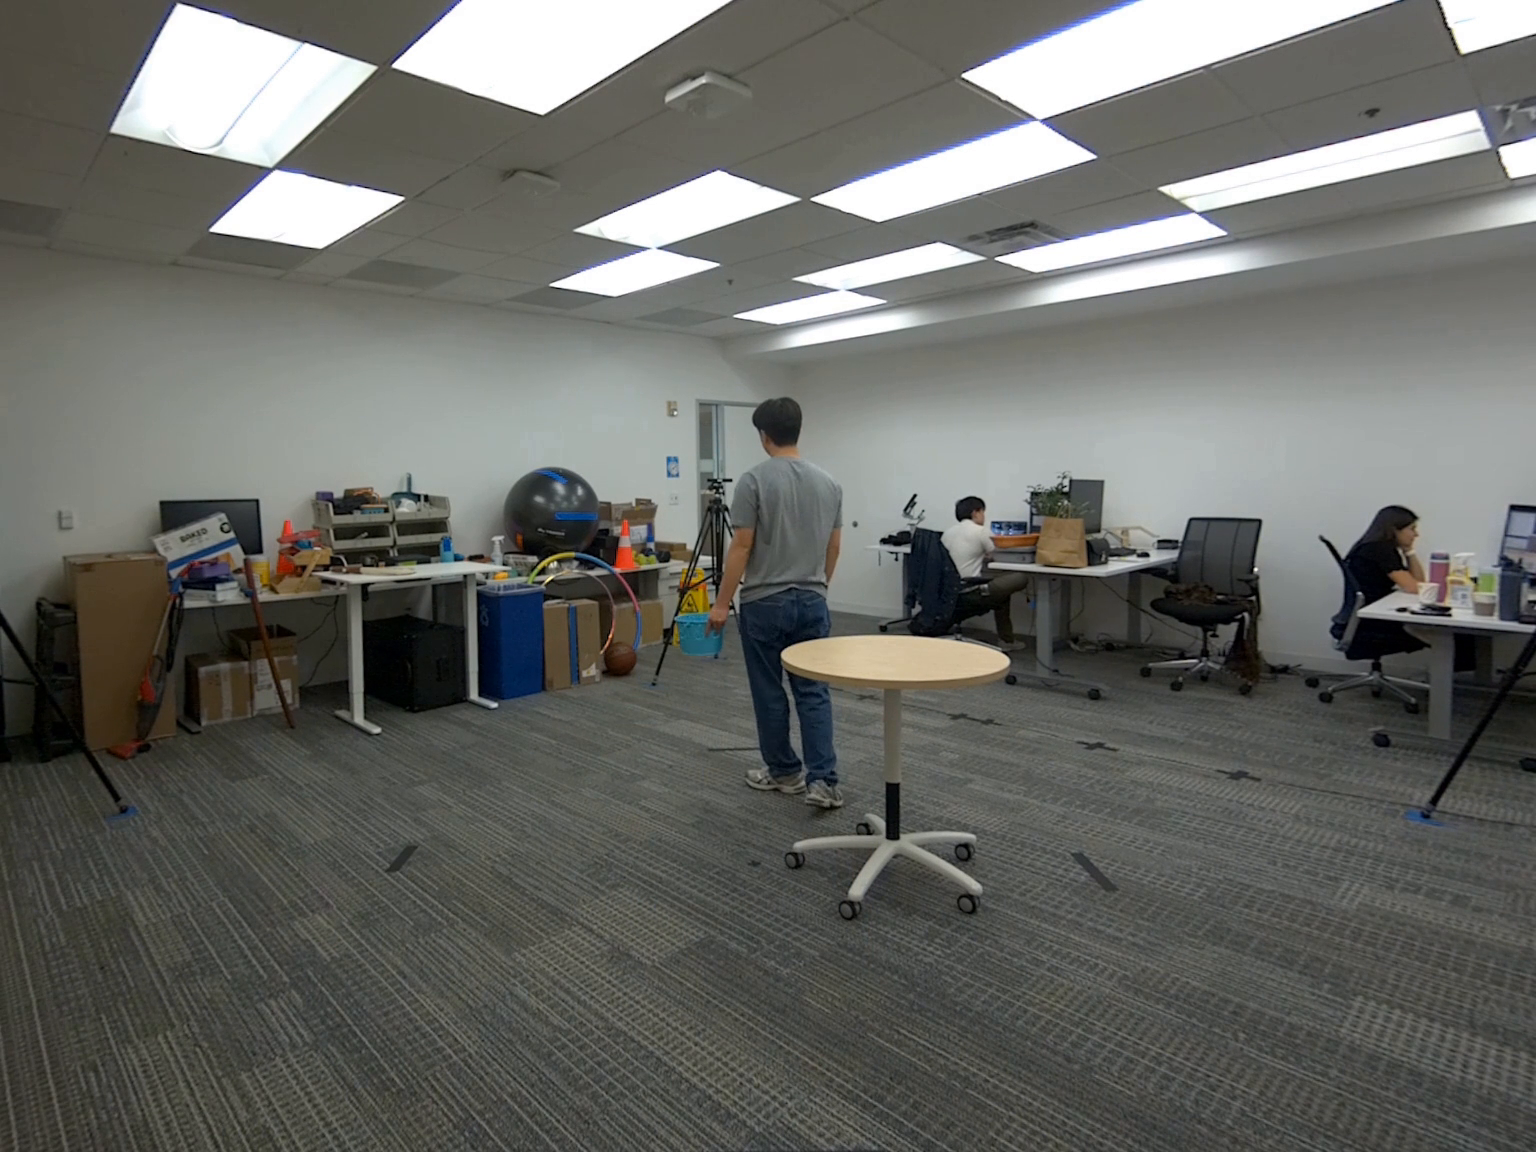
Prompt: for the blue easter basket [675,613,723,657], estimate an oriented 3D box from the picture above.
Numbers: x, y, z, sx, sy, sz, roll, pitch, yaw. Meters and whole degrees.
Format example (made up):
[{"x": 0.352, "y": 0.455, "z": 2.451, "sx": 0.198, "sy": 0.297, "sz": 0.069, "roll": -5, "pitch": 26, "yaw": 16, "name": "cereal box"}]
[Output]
[{"x": -0.293, "y": 0.252, "z": 3.803, "sx": 0.243, "sy": 0.155, "sz": 0.245, "roll": -3, "pitch": 7, "yaw": -1, "name": "blue easter basket"}]
